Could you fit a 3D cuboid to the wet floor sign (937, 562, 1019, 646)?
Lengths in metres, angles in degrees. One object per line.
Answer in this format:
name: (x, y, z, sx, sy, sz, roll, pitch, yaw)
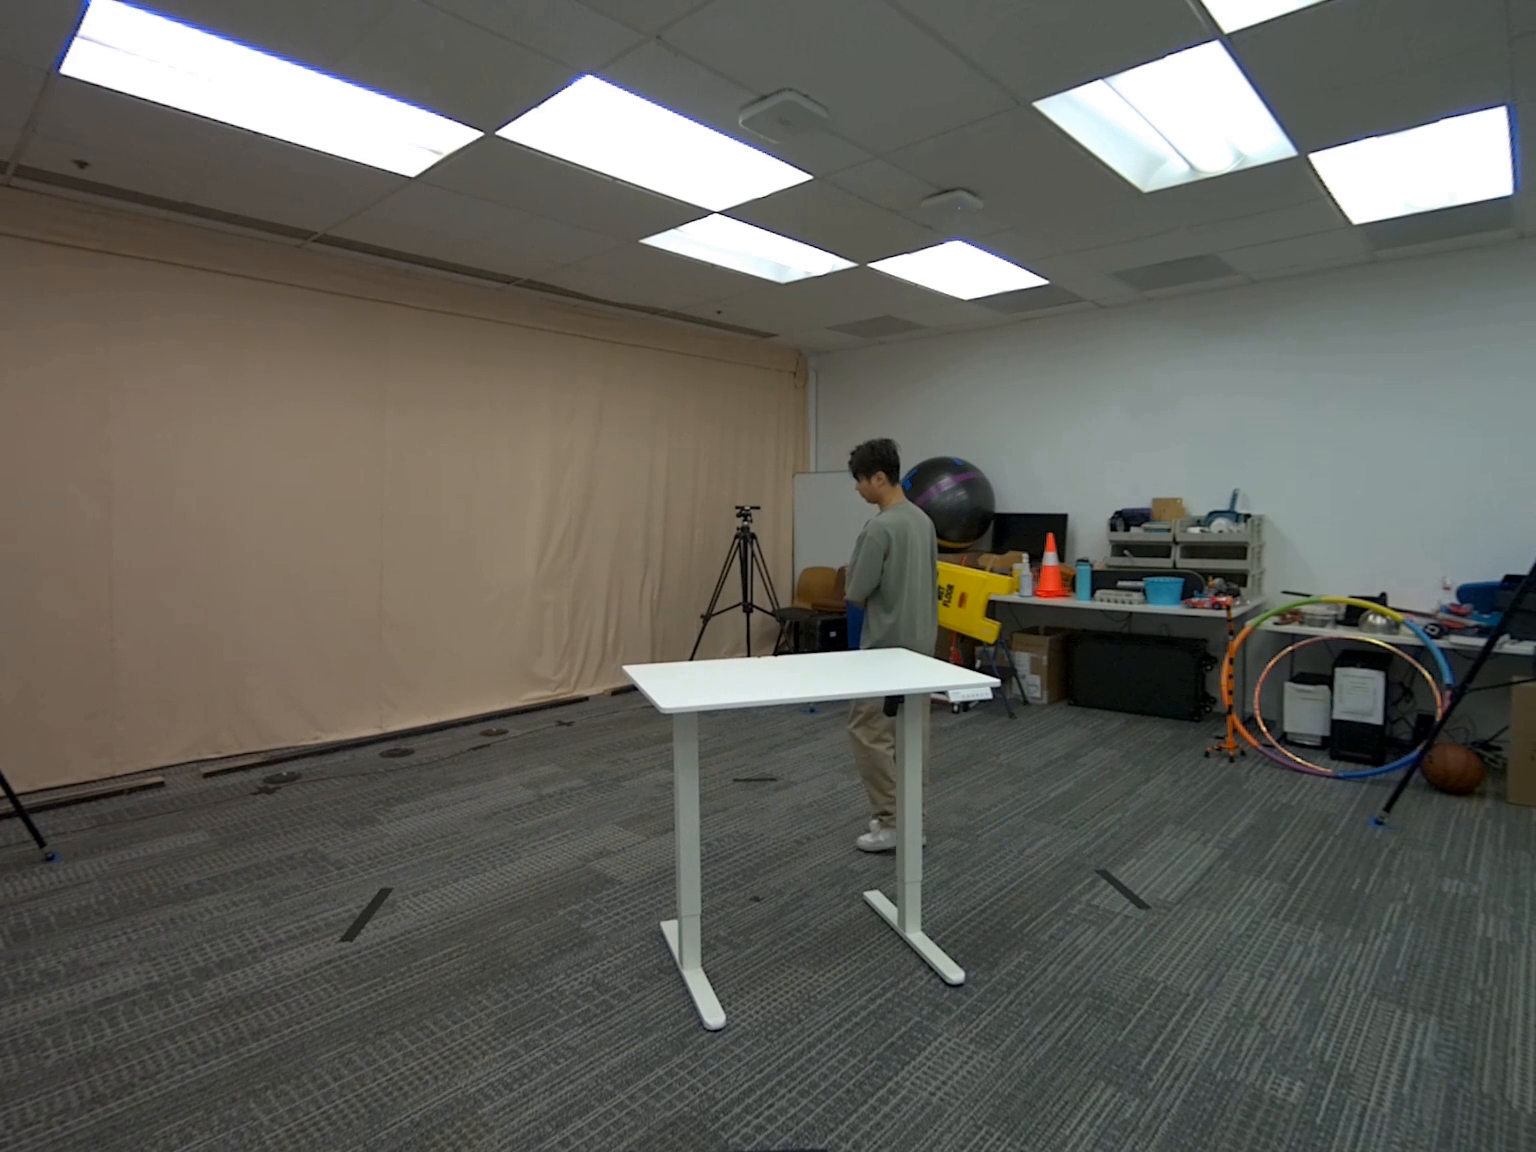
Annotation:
wet floor sign: (0.667, 0.061, 3.574, 0.664, 0.281, 0.283, 17, 13, 24)
